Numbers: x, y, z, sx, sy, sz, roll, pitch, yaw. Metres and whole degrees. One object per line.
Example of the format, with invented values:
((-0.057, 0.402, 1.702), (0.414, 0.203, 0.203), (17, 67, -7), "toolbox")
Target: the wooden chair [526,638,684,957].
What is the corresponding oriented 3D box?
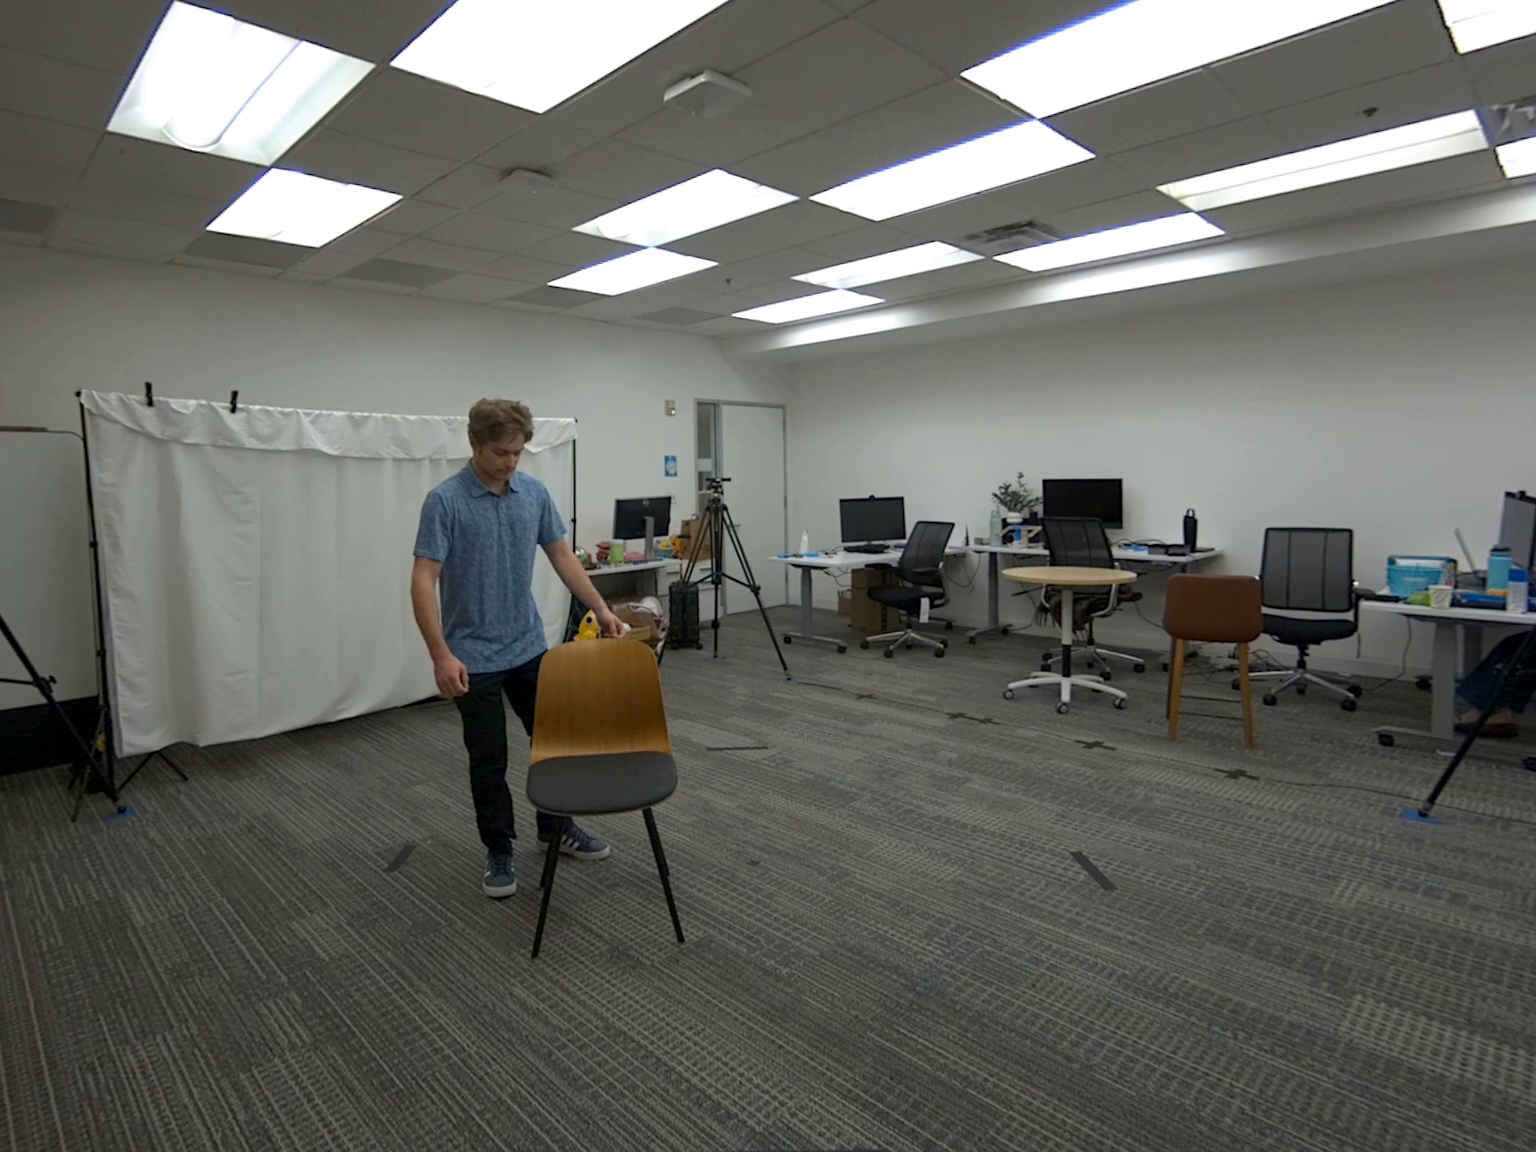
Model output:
((-0.515, 0.667, 2.720), (0.473, 0.877, 0.529), (-1, 0, -12), "wooden chair")
